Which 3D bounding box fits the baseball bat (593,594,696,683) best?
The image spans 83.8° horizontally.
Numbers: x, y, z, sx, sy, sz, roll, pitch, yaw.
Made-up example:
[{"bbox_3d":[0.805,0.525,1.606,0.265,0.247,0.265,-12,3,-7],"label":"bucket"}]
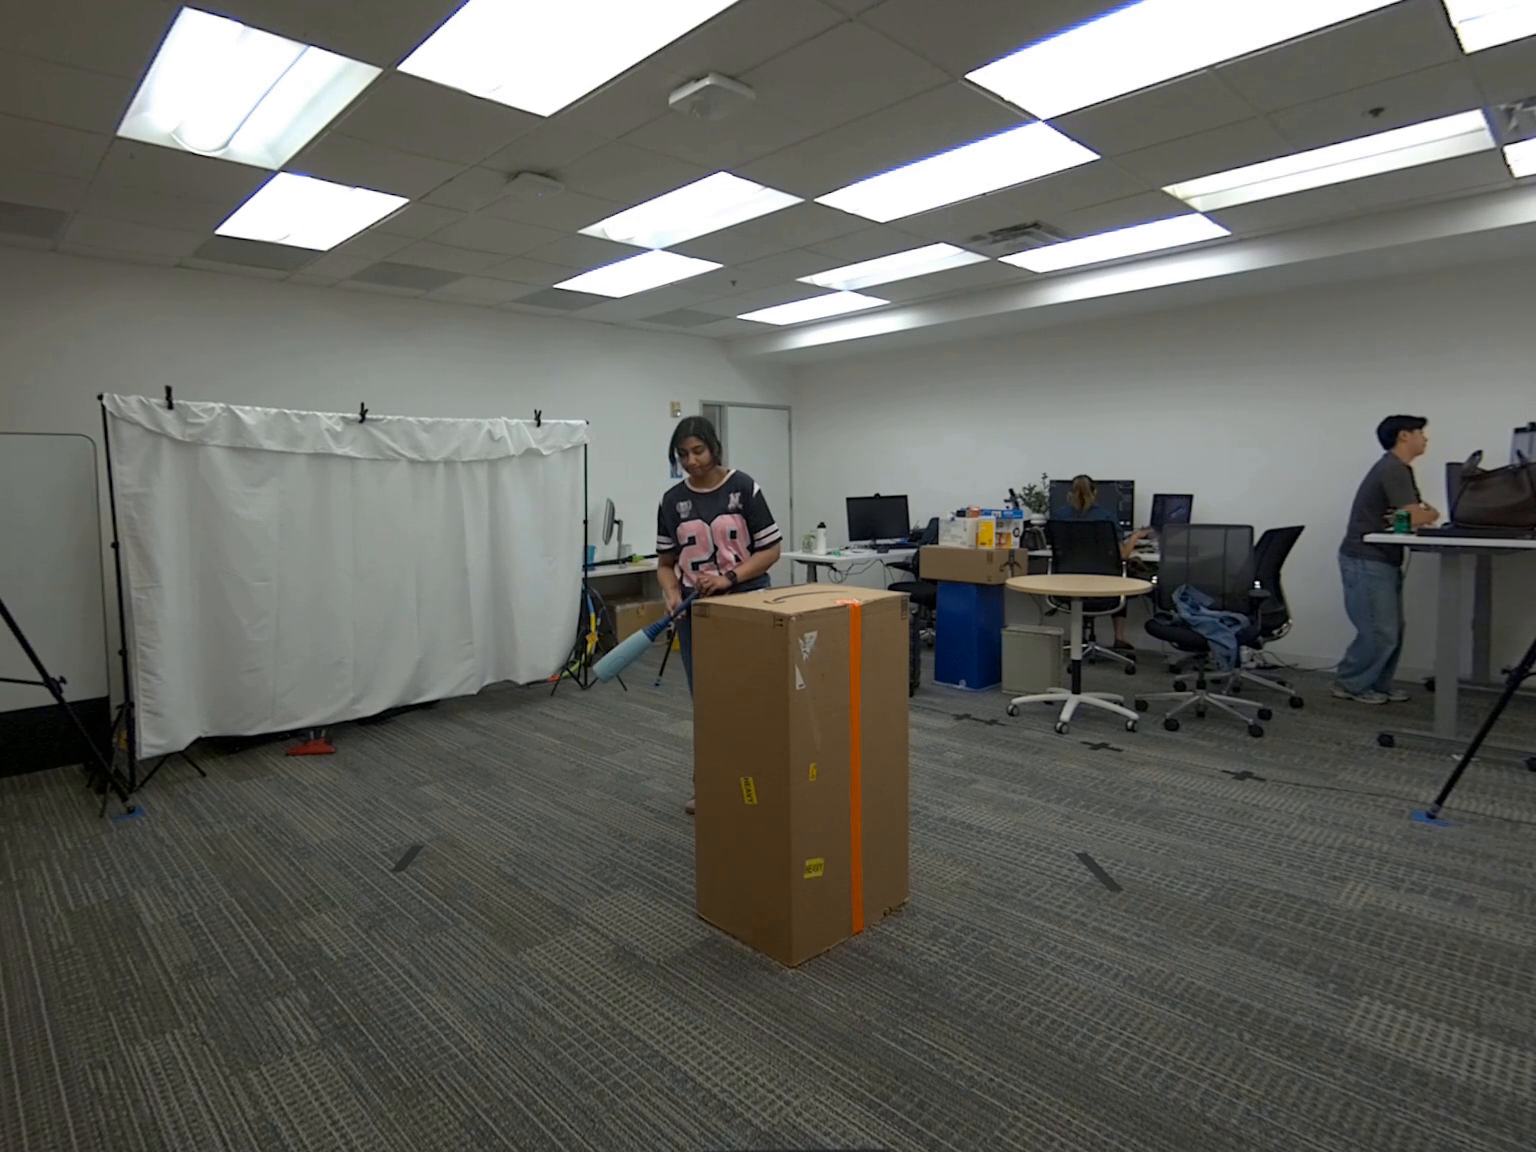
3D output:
[{"bbox_3d":[-0.450,0.231,3.340,0.543,0.088,0.090,-39,7,-1],"label":"baseball bat"}]
